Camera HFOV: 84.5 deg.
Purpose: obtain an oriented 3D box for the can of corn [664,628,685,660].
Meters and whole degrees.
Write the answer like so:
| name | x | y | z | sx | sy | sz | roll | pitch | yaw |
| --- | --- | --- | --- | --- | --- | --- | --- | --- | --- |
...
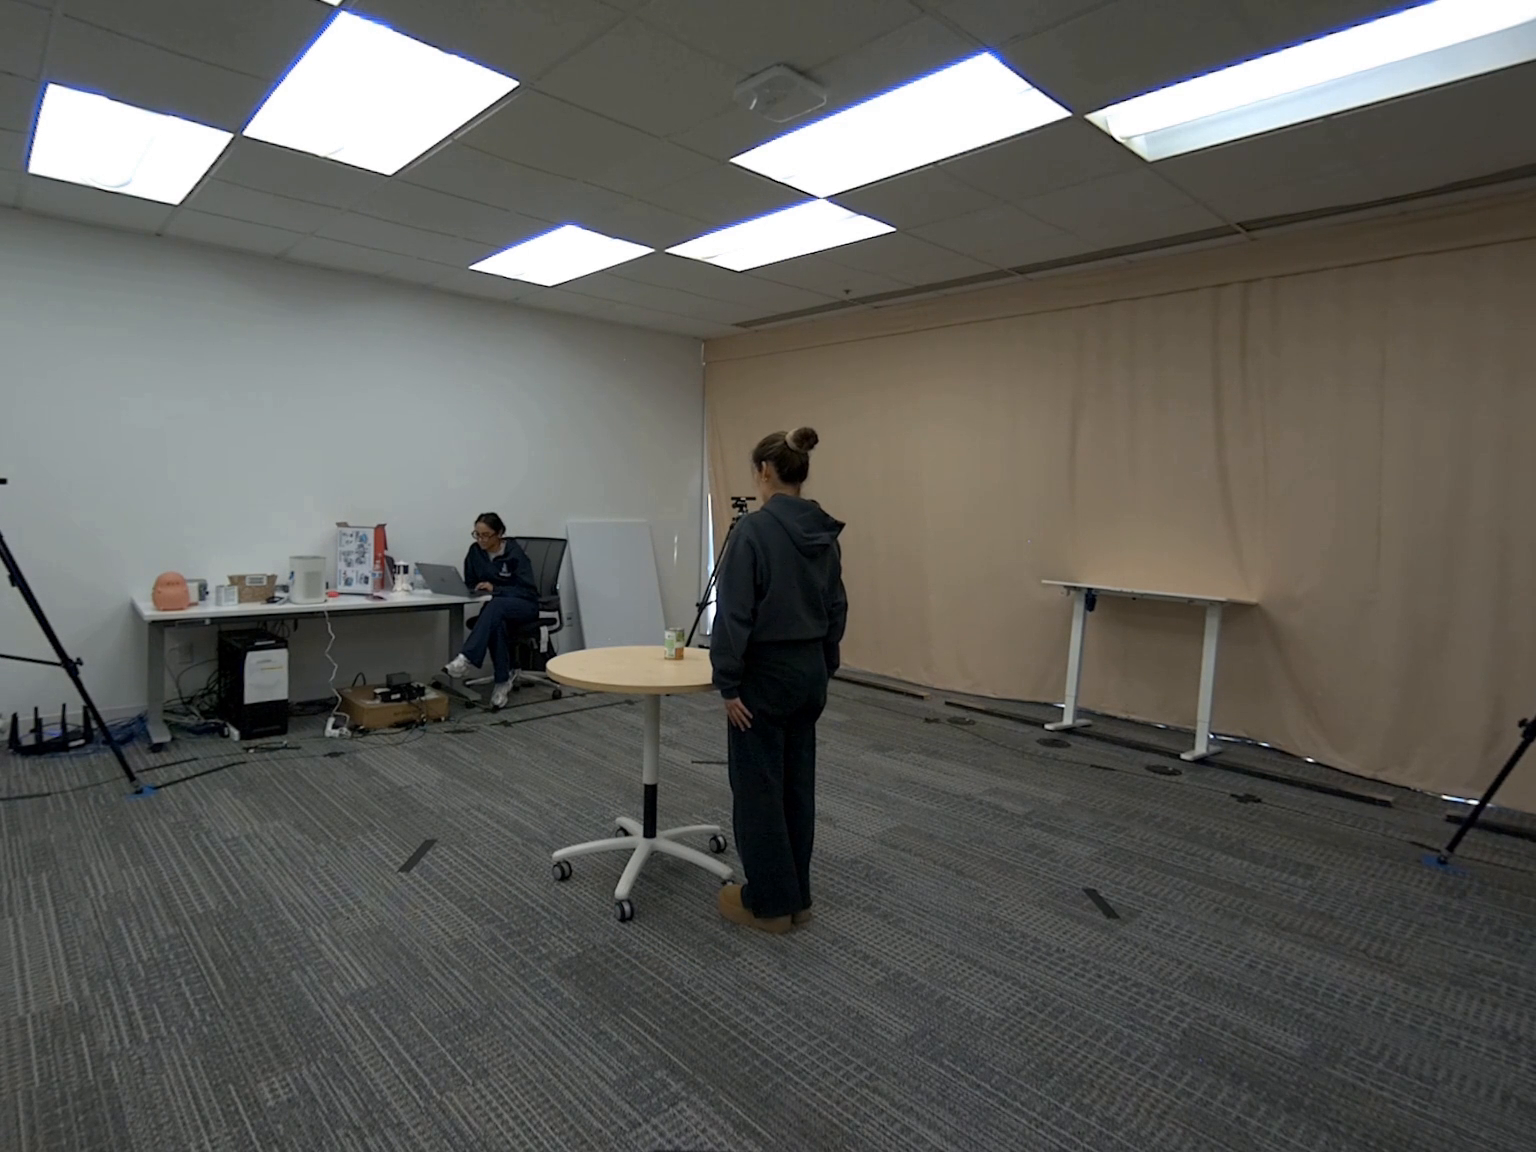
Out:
| name | x | y | z | sx | sy | sz | roll | pitch | yaw |
| --- | --- | --- | --- | --- | --- | --- | --- | --- | --- |
| can of corn | -0.366 | 0.255 | 3.183 | 0.074 | 0.111 | 0.074 | 2 | 2 | -1 |
